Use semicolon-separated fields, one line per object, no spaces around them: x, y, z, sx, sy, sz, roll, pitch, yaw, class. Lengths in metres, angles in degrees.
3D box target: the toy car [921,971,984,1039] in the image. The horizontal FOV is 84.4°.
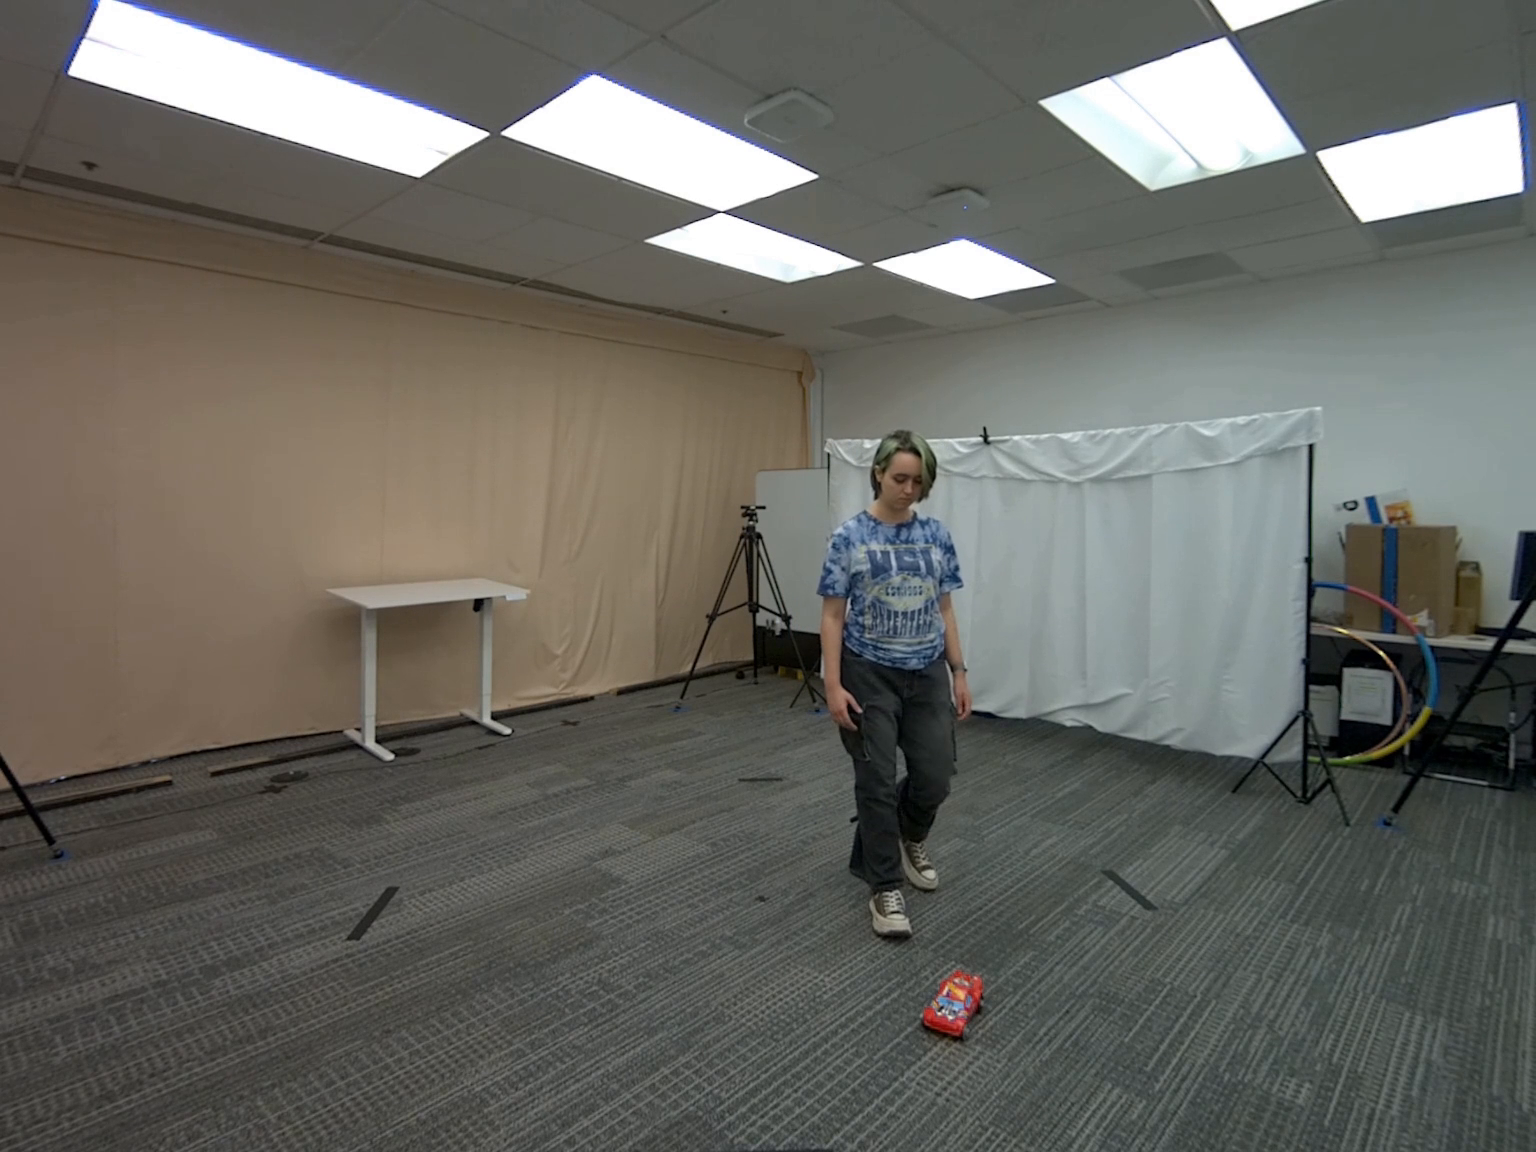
0.512;1.163;2.300;0.134;0.082;0.250;2;16;30;toy car
